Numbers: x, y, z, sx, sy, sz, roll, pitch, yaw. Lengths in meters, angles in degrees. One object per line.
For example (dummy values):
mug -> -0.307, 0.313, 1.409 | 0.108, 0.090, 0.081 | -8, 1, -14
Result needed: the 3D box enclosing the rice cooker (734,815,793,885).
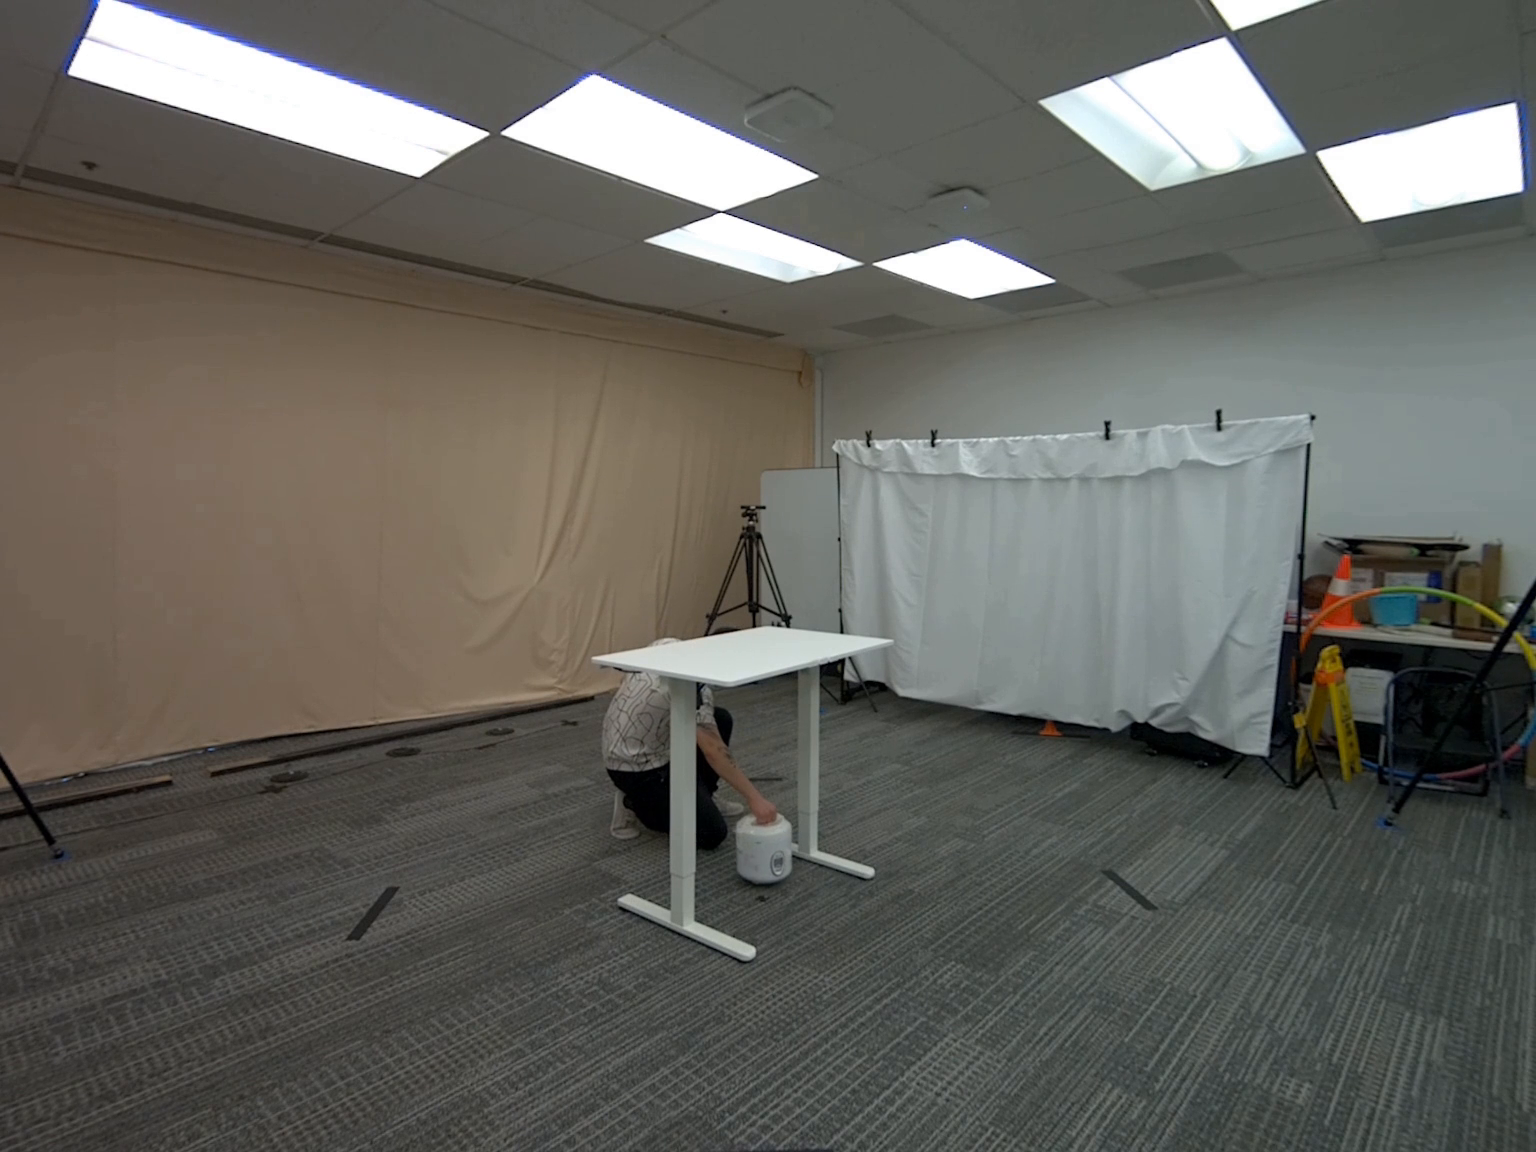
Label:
rice cooker -> -0.015, 0.996, 3.130 | 0.215, 0.232, 0.223 | -3, 3, -27
